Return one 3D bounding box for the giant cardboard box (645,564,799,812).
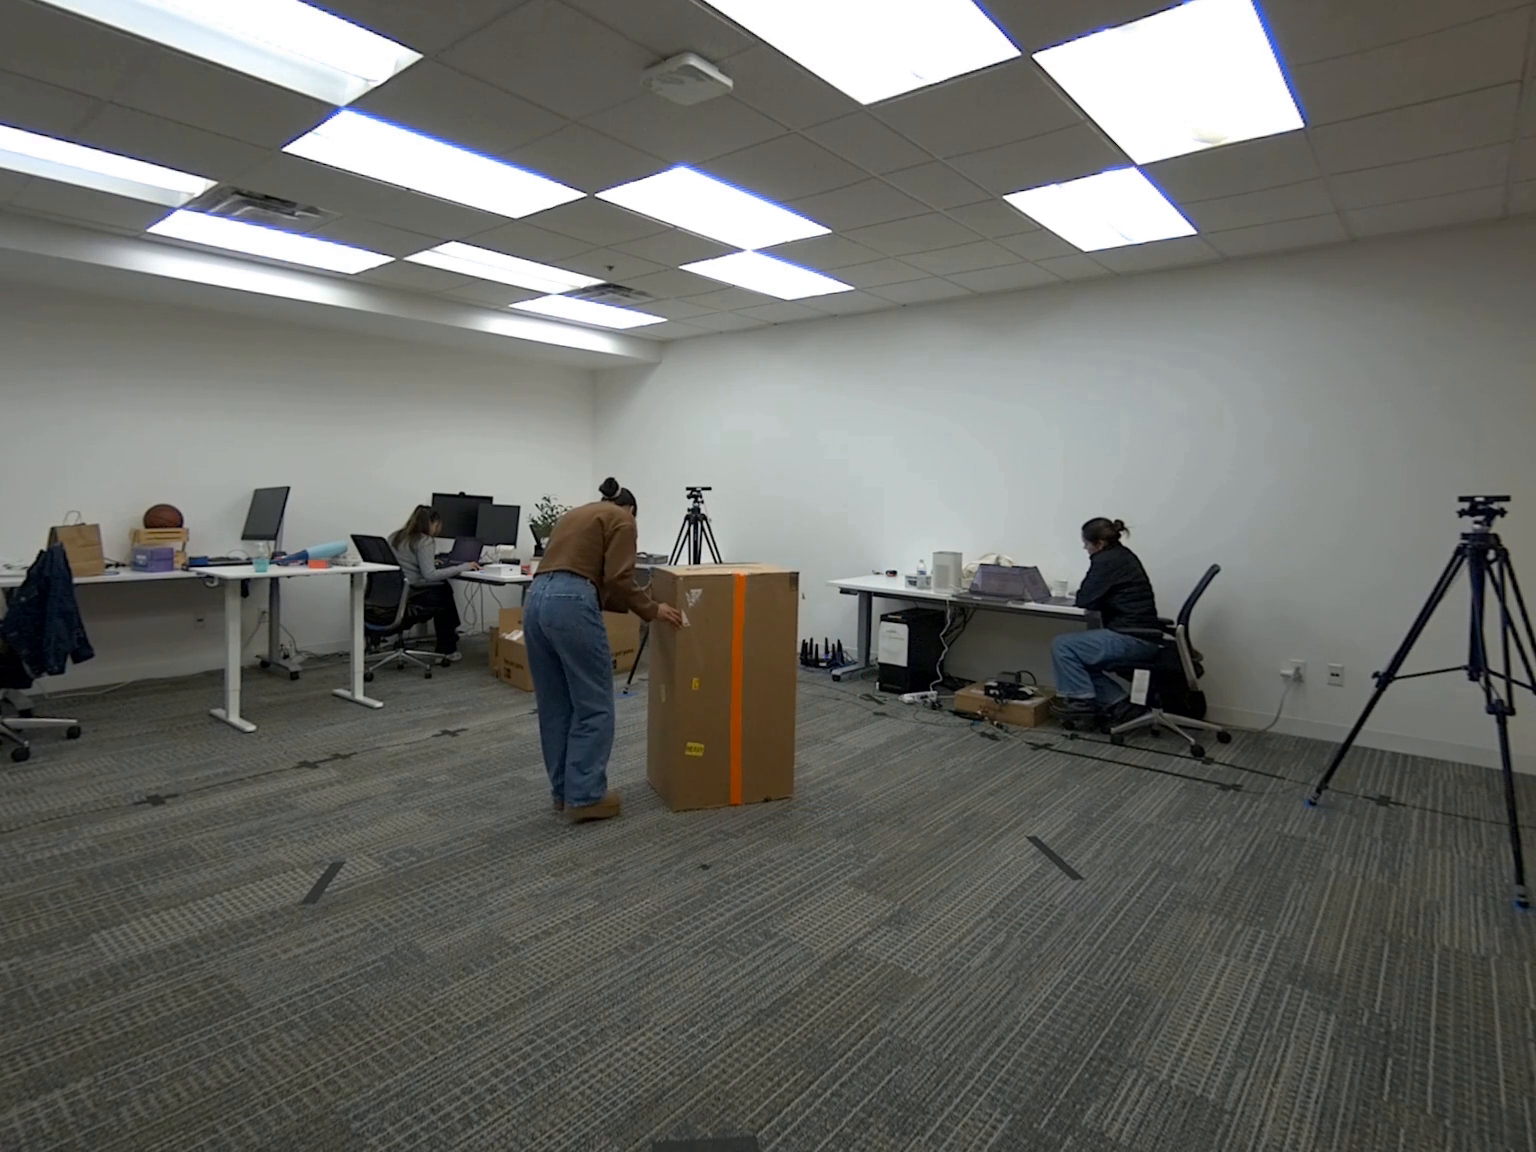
[{"bbox_3d":[-0.225,0.475,3.905,0.565,1.023,0.437,0,4,-22],"label":"giant cardboard box"}]
